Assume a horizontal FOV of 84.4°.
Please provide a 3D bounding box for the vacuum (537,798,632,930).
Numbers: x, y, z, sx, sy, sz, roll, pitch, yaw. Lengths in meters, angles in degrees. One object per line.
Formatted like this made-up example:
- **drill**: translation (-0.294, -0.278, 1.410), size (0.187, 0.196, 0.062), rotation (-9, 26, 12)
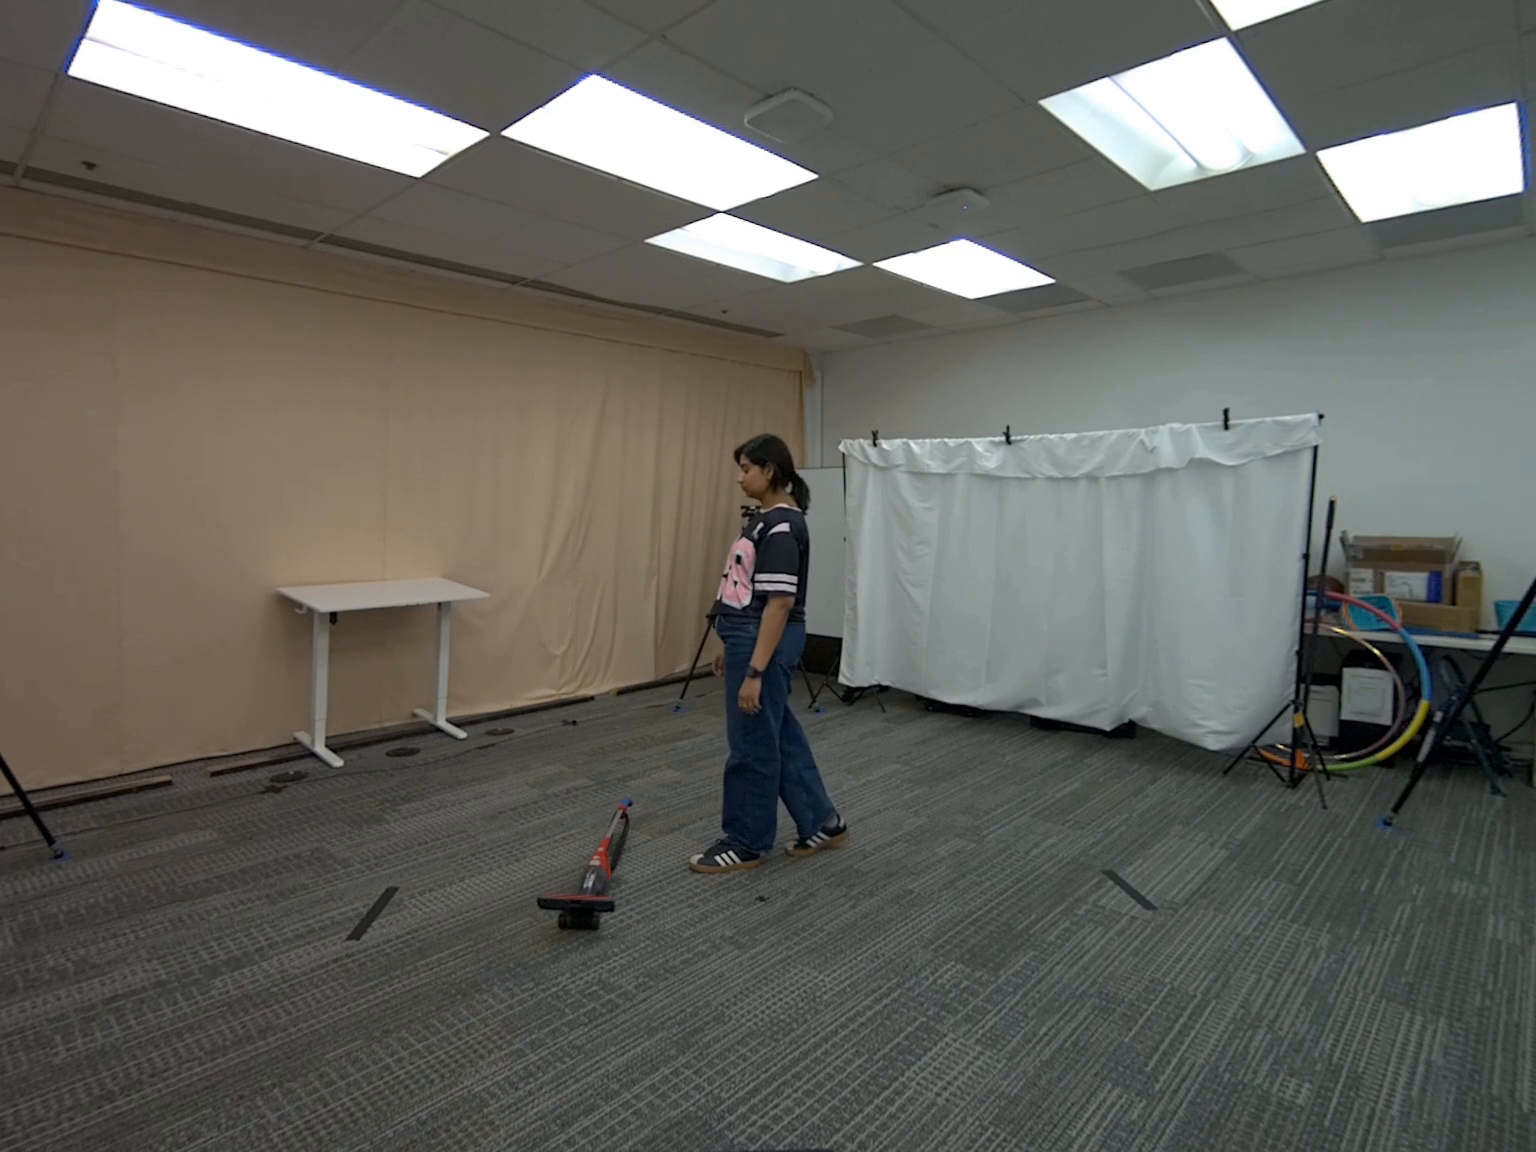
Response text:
- **vacuum**: translation (-0.619, 1.061, 3.267), size (0.253, 0.143, 1.050), rotation (-1, 4, -1)
